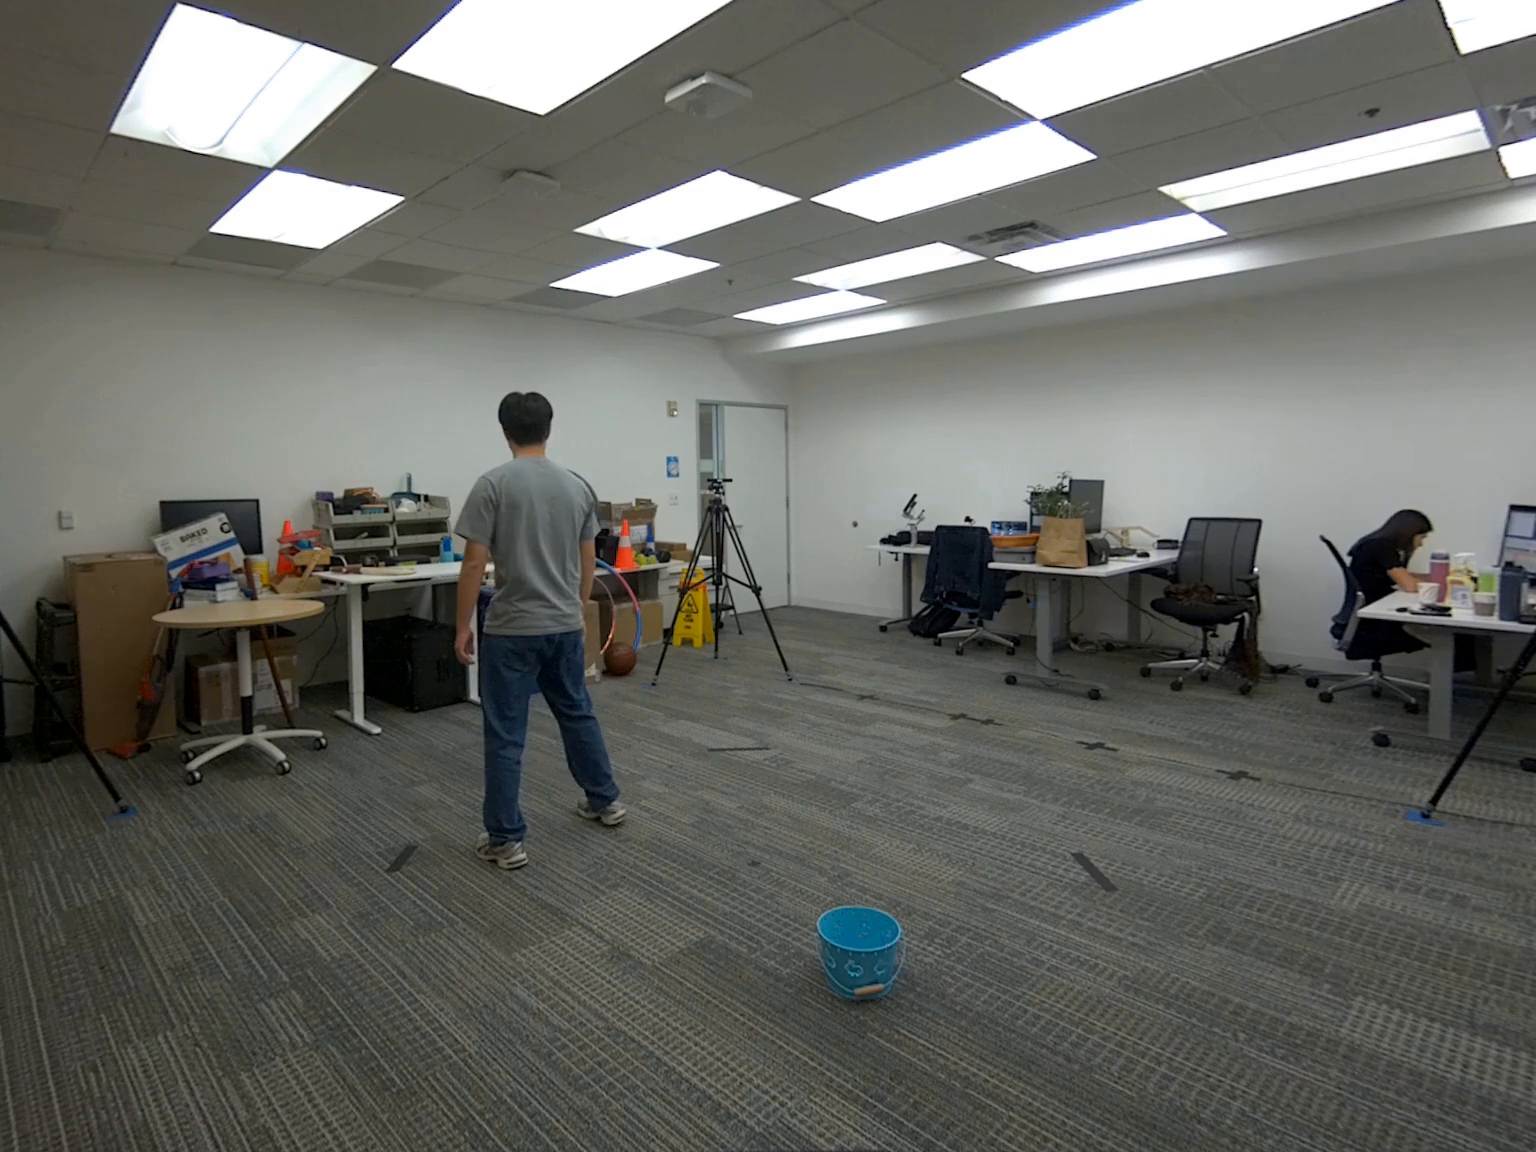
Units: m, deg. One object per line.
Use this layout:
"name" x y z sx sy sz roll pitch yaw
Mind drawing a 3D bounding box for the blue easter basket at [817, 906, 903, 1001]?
"blue easter basket" 0.255 1.049 2.368 0.243 0.155 0.245 -2 5 -2
